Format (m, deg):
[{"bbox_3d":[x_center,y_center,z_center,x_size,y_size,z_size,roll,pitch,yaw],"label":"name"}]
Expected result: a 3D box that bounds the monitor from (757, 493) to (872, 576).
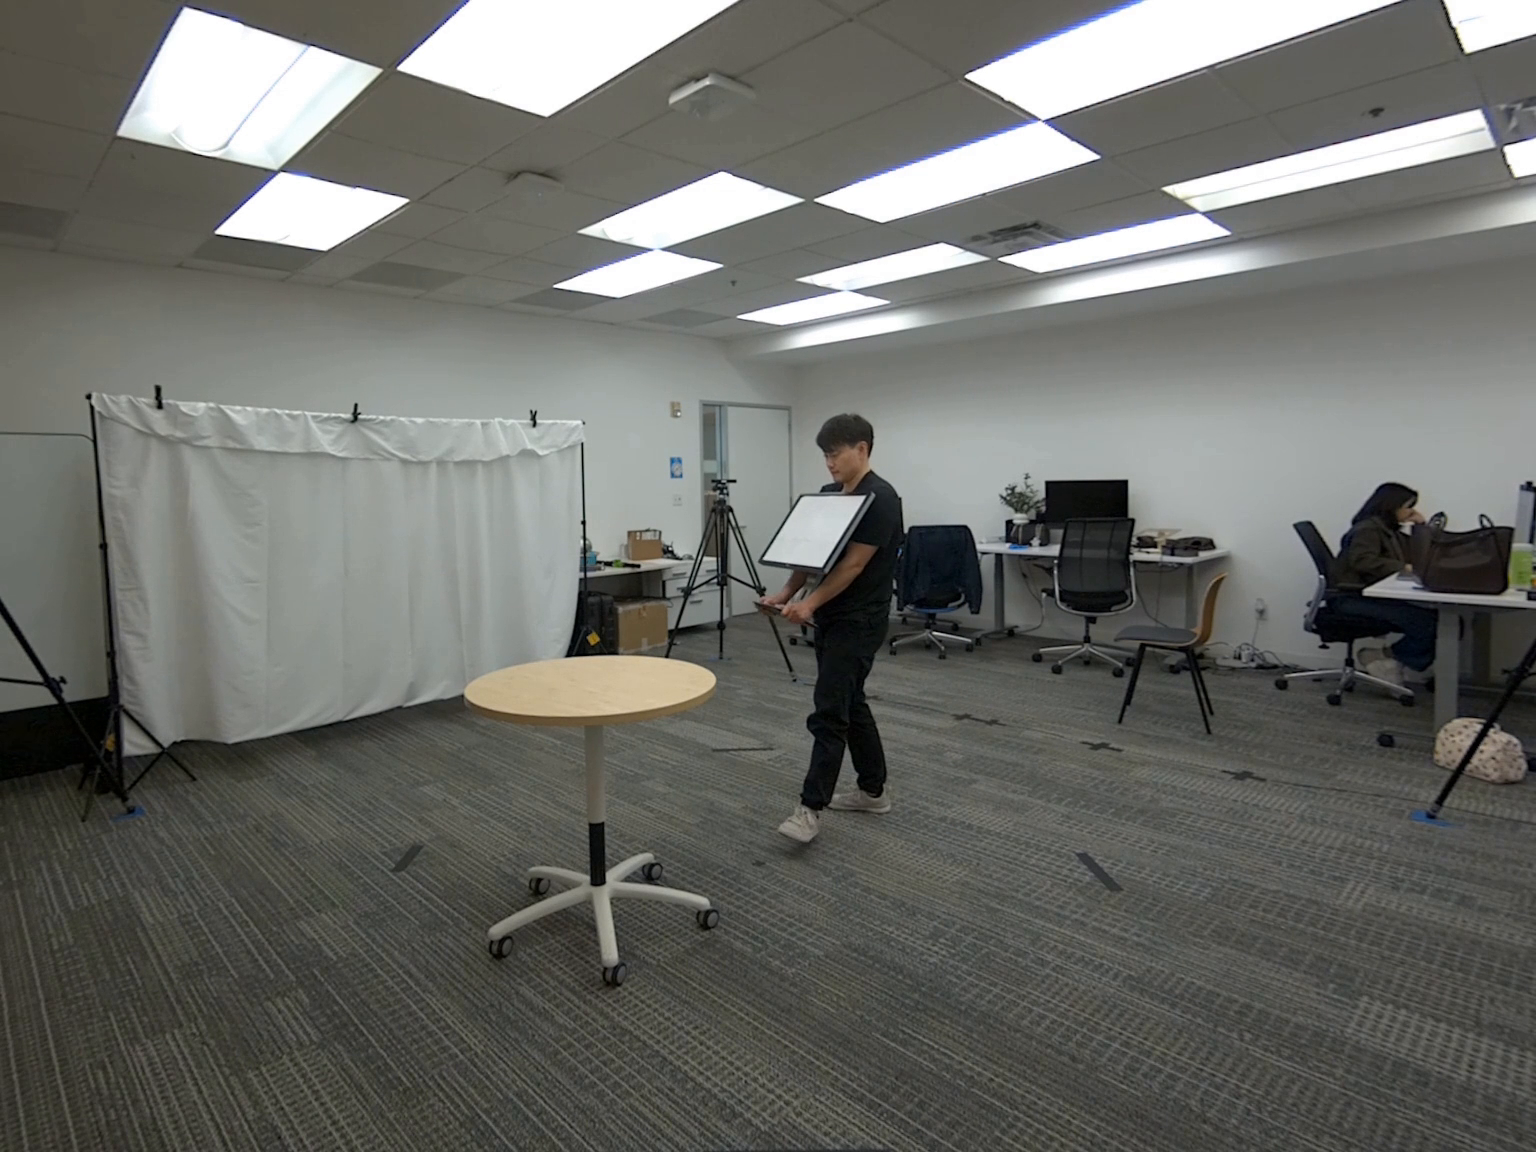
[{"bbox_3d":[0.162,-0.088,3.425,0.182,0.524,0.553,27,-8,-26],"label":"monitor"}]
